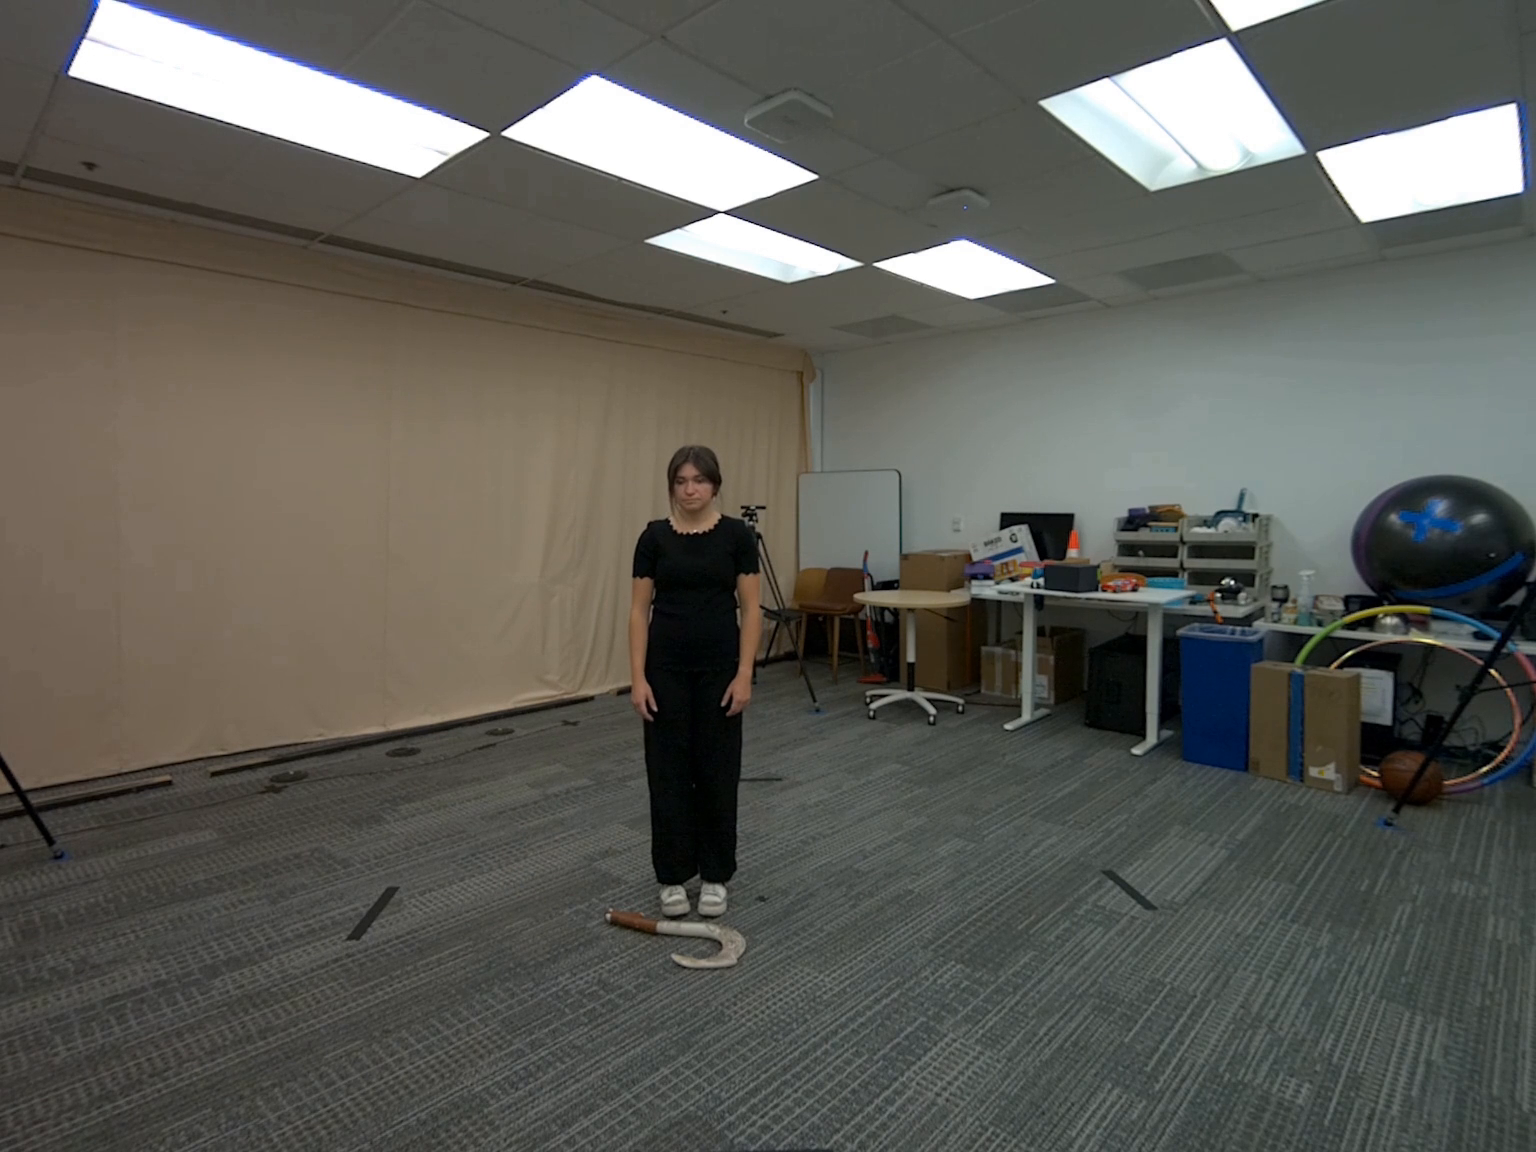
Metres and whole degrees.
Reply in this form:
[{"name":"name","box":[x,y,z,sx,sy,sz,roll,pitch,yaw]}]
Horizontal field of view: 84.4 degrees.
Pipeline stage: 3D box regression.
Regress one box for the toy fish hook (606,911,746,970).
[{"name":"toy fish hook","box":[-0.322,1.147,2.675,0.518,0.048,0.220,1,3,22]}]
